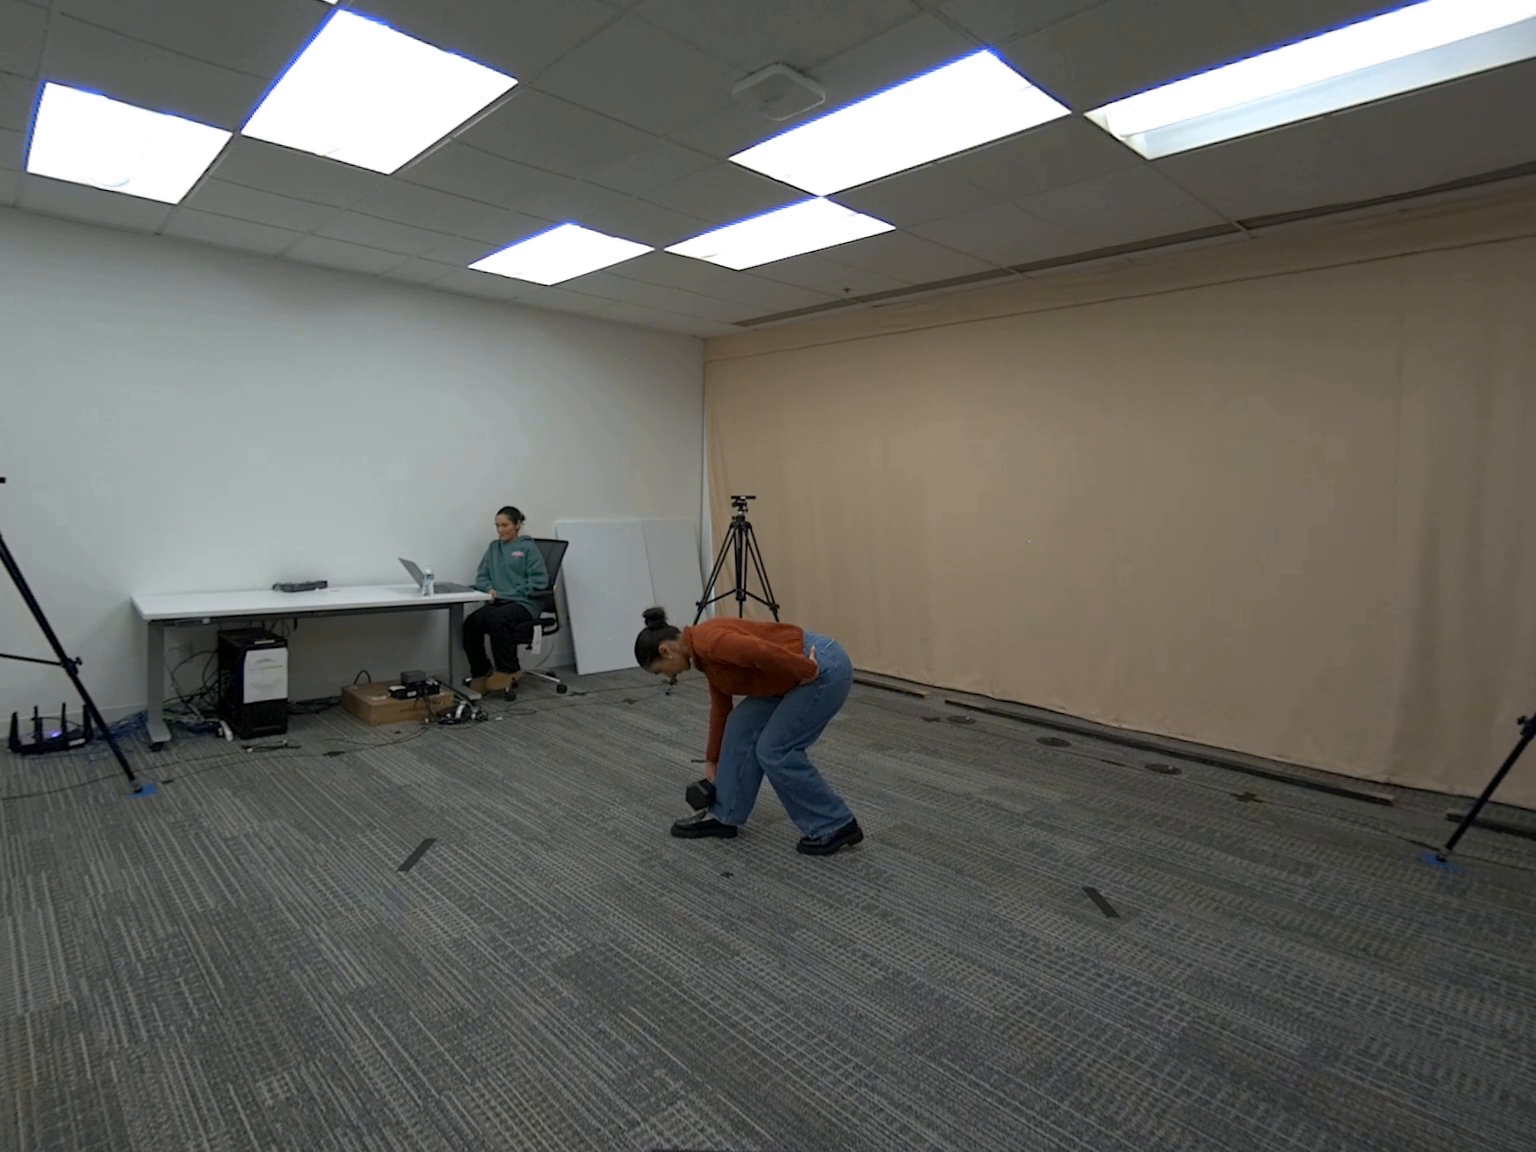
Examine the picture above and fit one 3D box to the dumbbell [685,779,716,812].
[{"bbox_3d":[-0.231,0.886,3.526,0.111,0.122,0.288,12,11,30],"label":"dumbbell"}]
